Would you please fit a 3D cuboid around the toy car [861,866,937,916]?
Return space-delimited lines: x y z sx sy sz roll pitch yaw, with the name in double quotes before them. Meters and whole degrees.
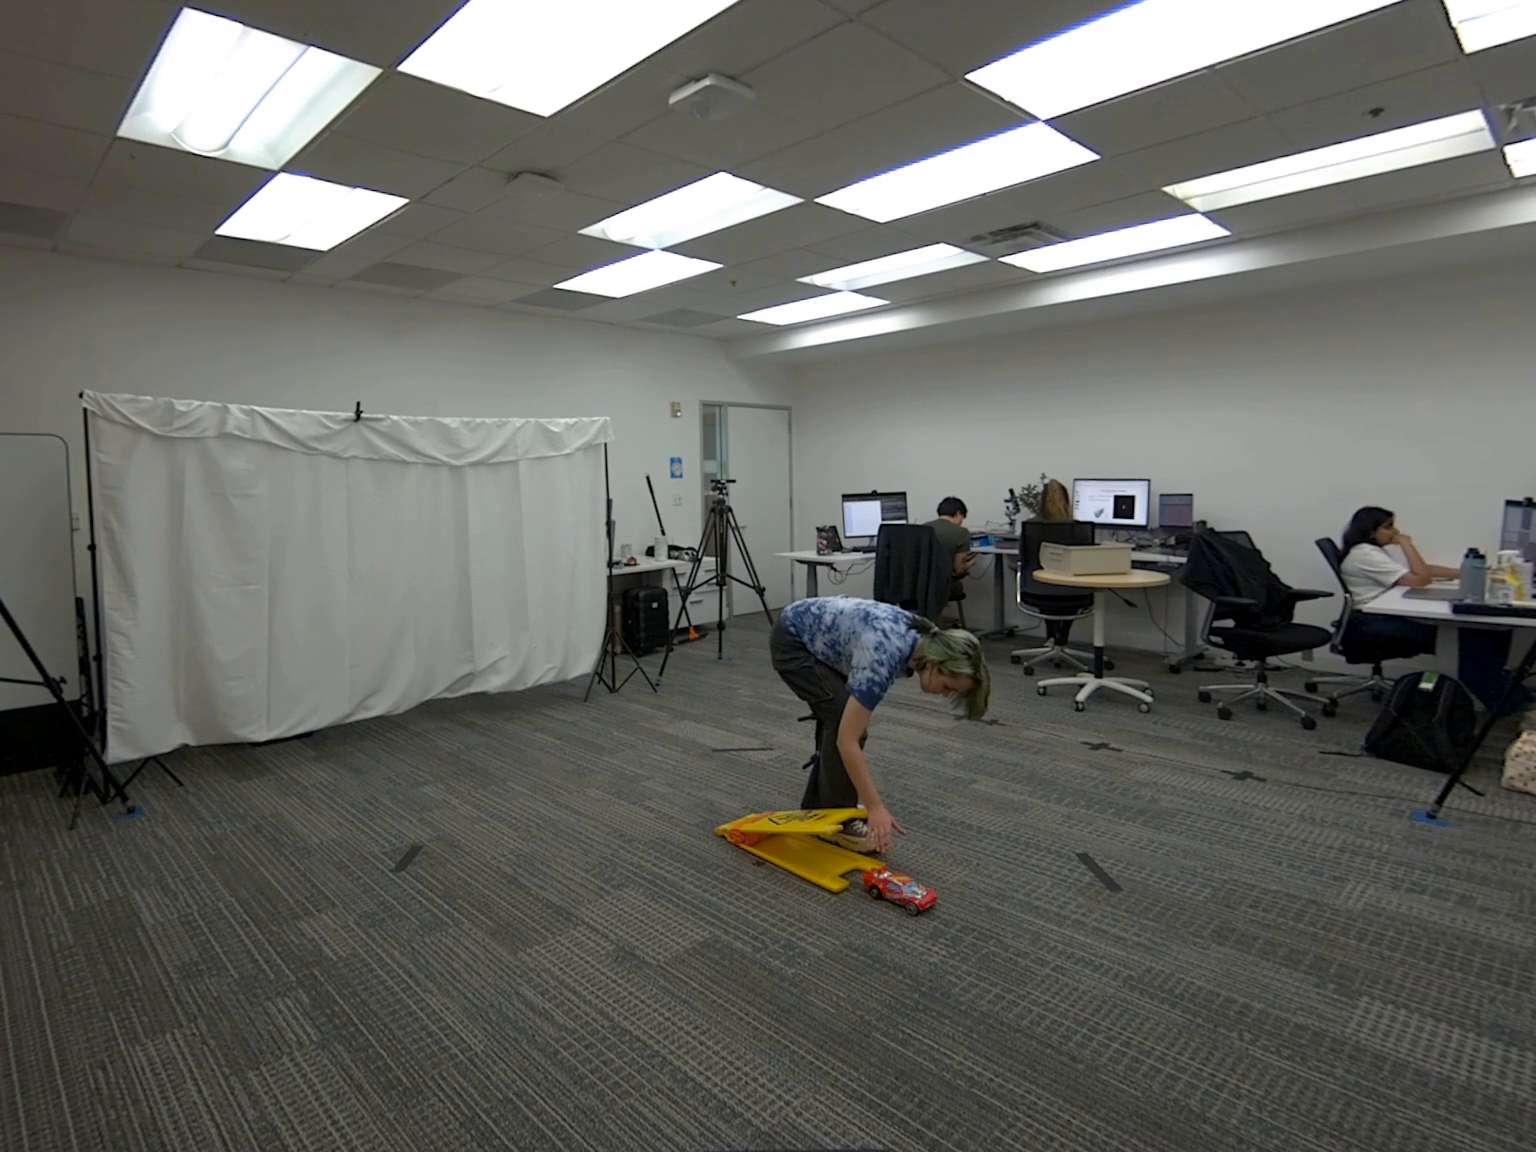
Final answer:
"toy car" 0.429 1.044 2.825 0.127 0.082 0.264 -7 19 -41
